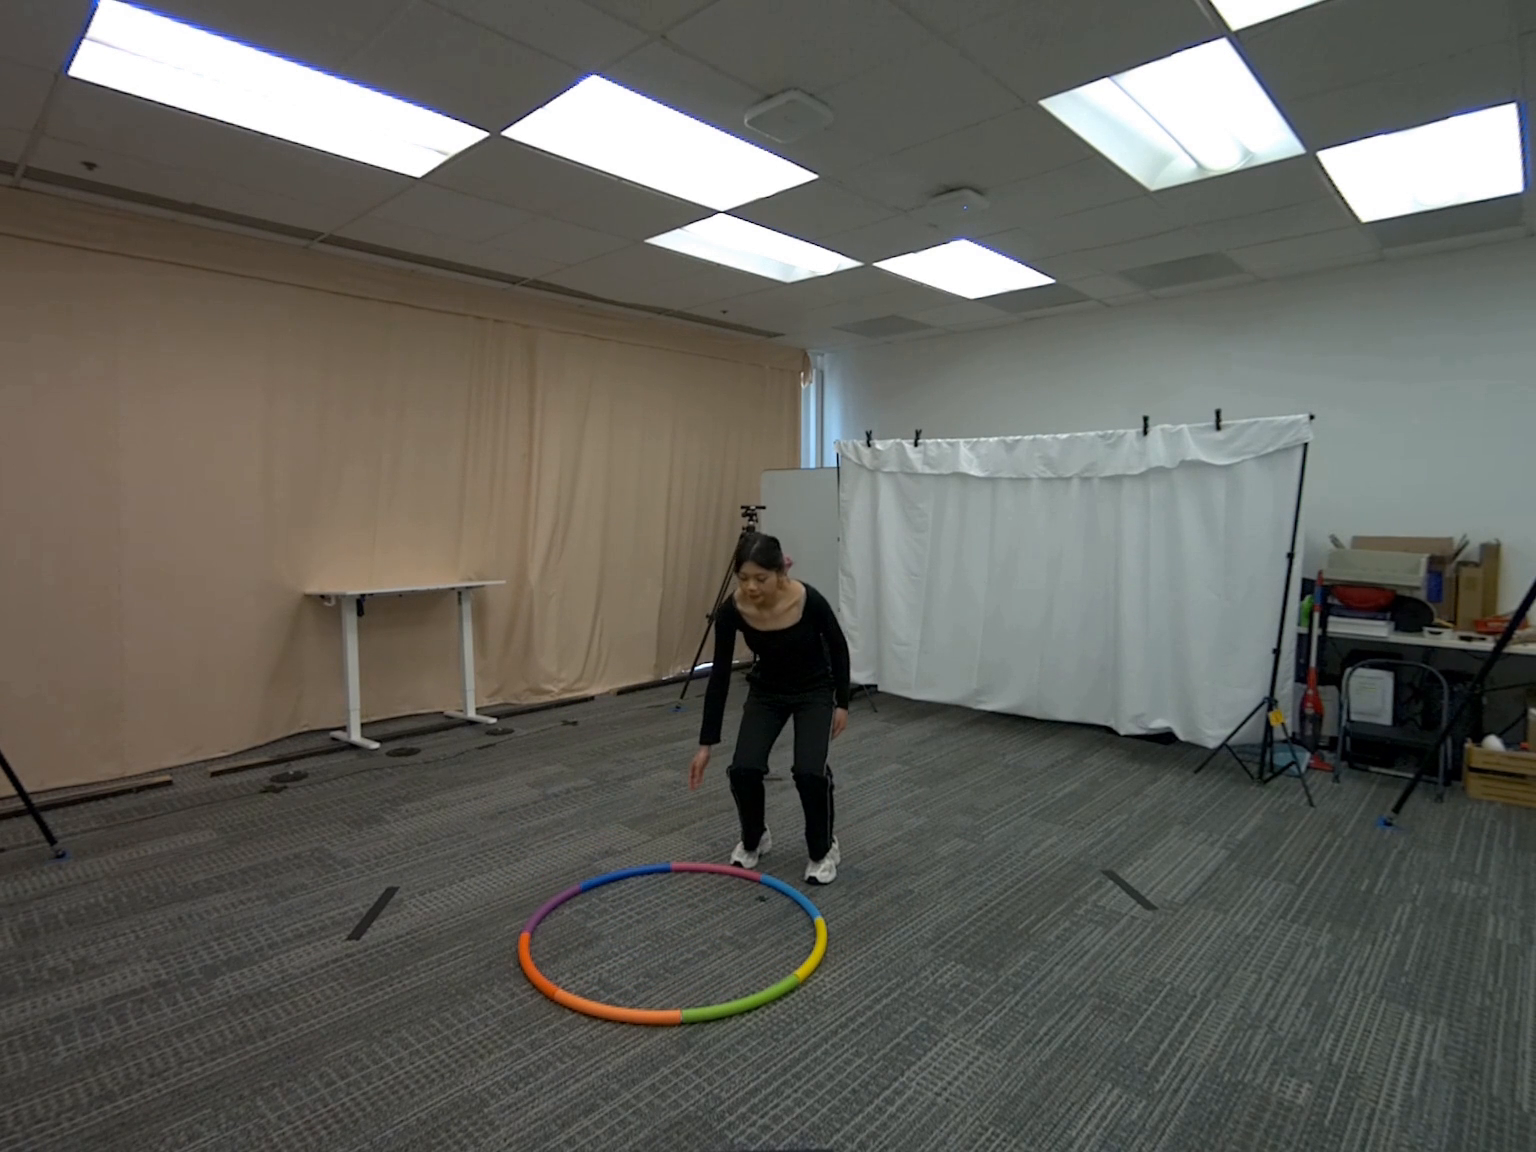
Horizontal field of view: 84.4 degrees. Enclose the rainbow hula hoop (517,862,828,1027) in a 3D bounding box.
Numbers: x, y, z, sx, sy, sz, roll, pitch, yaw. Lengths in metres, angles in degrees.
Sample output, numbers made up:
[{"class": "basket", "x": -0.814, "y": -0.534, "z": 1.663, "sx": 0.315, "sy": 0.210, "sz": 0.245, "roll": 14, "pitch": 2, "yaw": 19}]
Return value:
[{"class": "rainbow hula hoop", "x": -0.302, "y": 1.137, "z": 2.739, "sx": 0.978, "sy": 0.035, "sz": 0.982, "roll": -1, "pitch": 4, "yaw": -2}]
